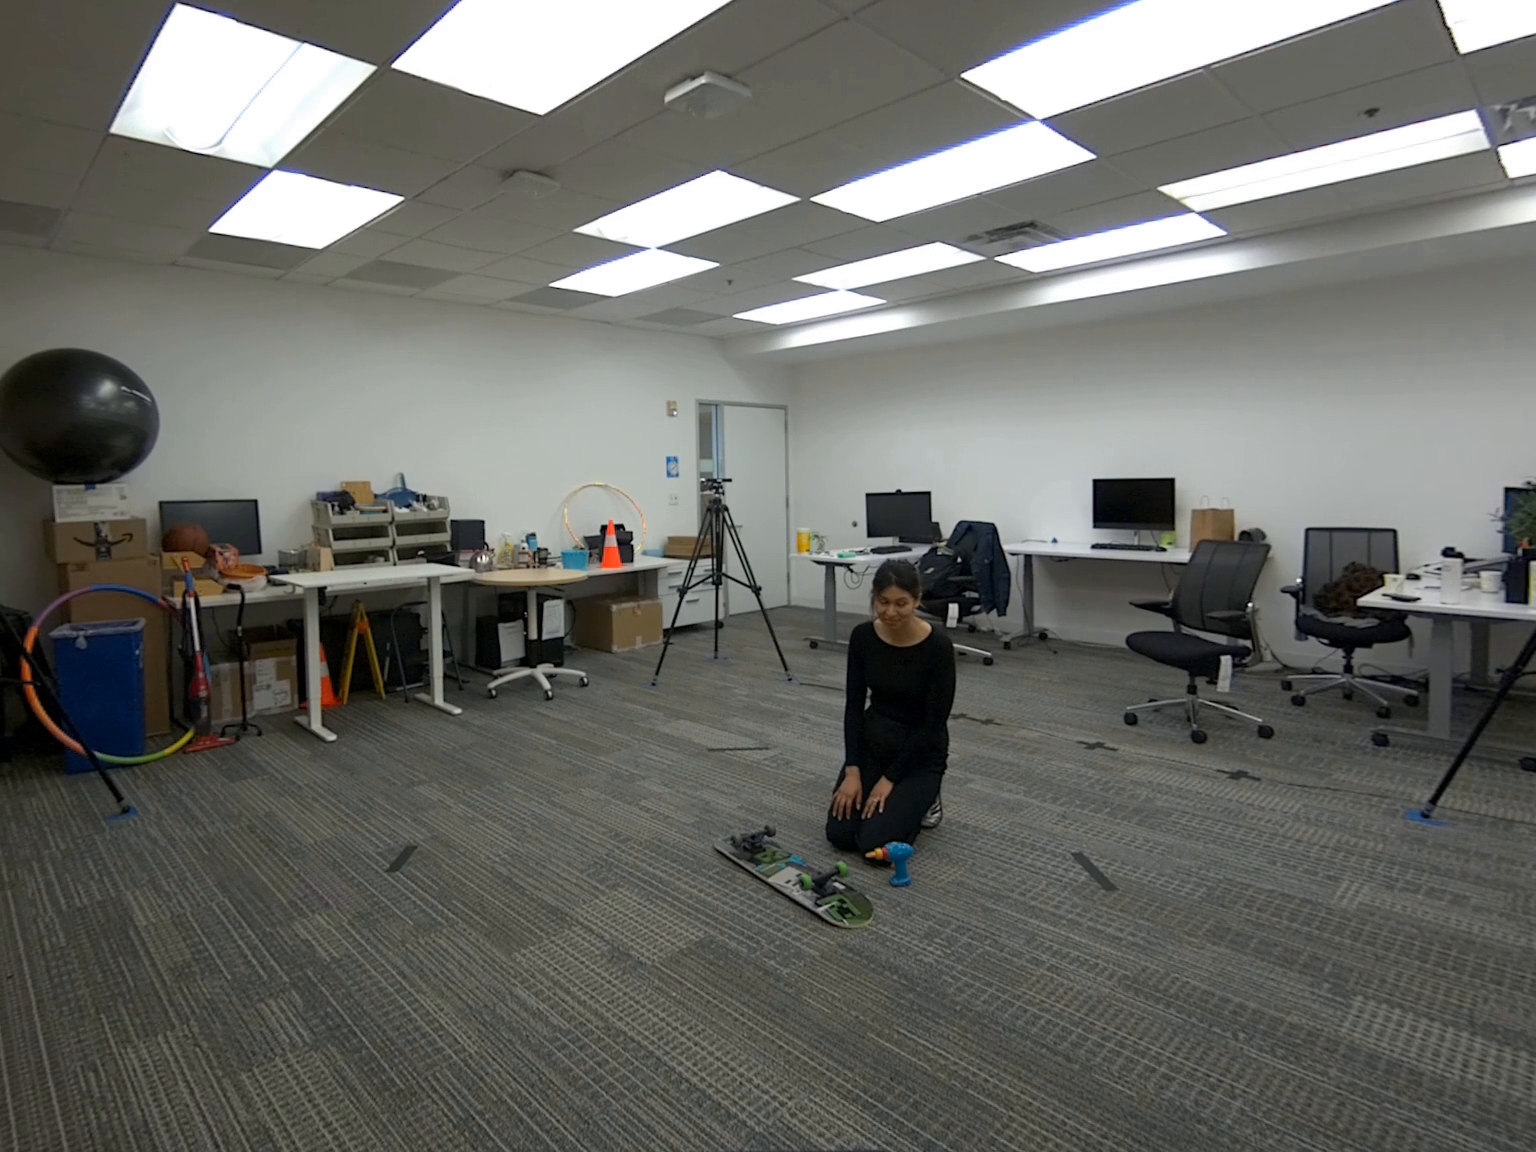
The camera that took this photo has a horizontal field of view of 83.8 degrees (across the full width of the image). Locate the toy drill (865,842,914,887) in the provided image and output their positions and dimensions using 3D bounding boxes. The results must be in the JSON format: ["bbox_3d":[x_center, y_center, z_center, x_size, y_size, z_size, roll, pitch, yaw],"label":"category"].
[{"bbox_3d":[0.420,0.991,2.922,0.168,0.145,0.062,-4,5,-11],"label":"toy drill"}]
